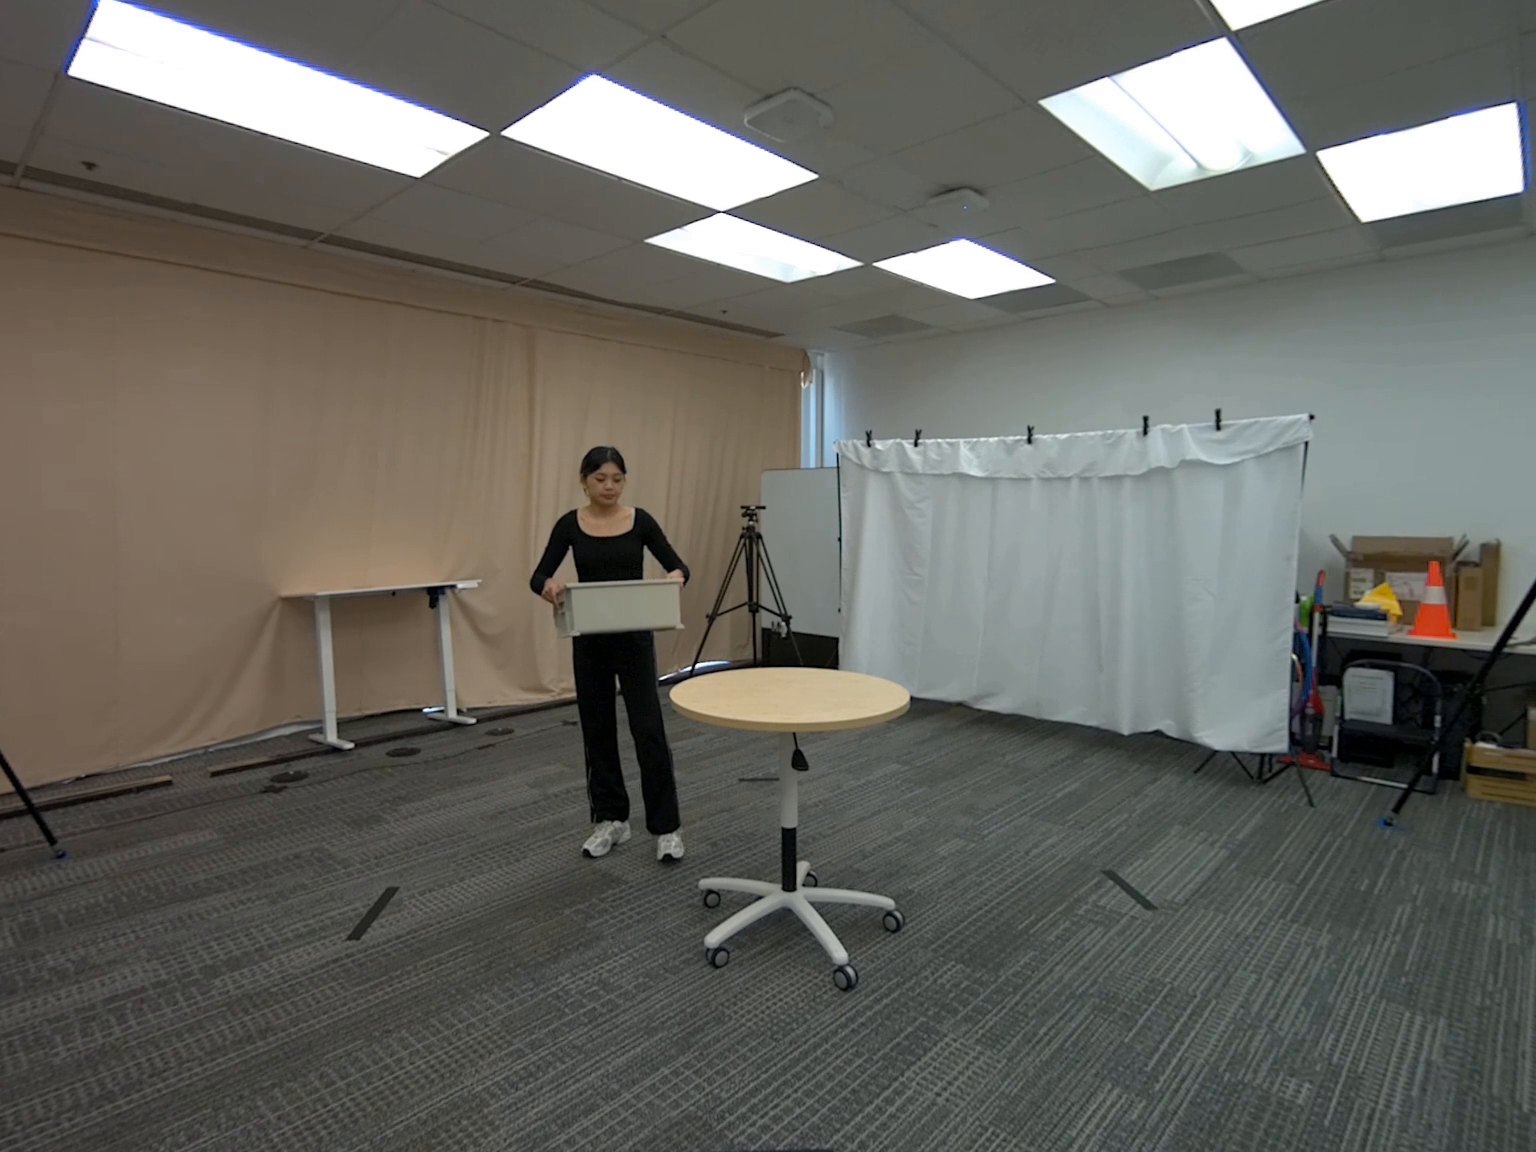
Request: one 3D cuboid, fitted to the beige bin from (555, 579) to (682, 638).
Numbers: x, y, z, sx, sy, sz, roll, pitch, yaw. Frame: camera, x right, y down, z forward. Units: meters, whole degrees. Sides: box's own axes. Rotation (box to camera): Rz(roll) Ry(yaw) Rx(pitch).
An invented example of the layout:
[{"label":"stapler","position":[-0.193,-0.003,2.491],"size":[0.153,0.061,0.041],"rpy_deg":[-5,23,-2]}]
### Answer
[{"label":"beige bin","position":[-0.562,0.119,3.122],"size":[0.414,0.189,0.385],"rpy_deg":[-2,-1,-21]}]
